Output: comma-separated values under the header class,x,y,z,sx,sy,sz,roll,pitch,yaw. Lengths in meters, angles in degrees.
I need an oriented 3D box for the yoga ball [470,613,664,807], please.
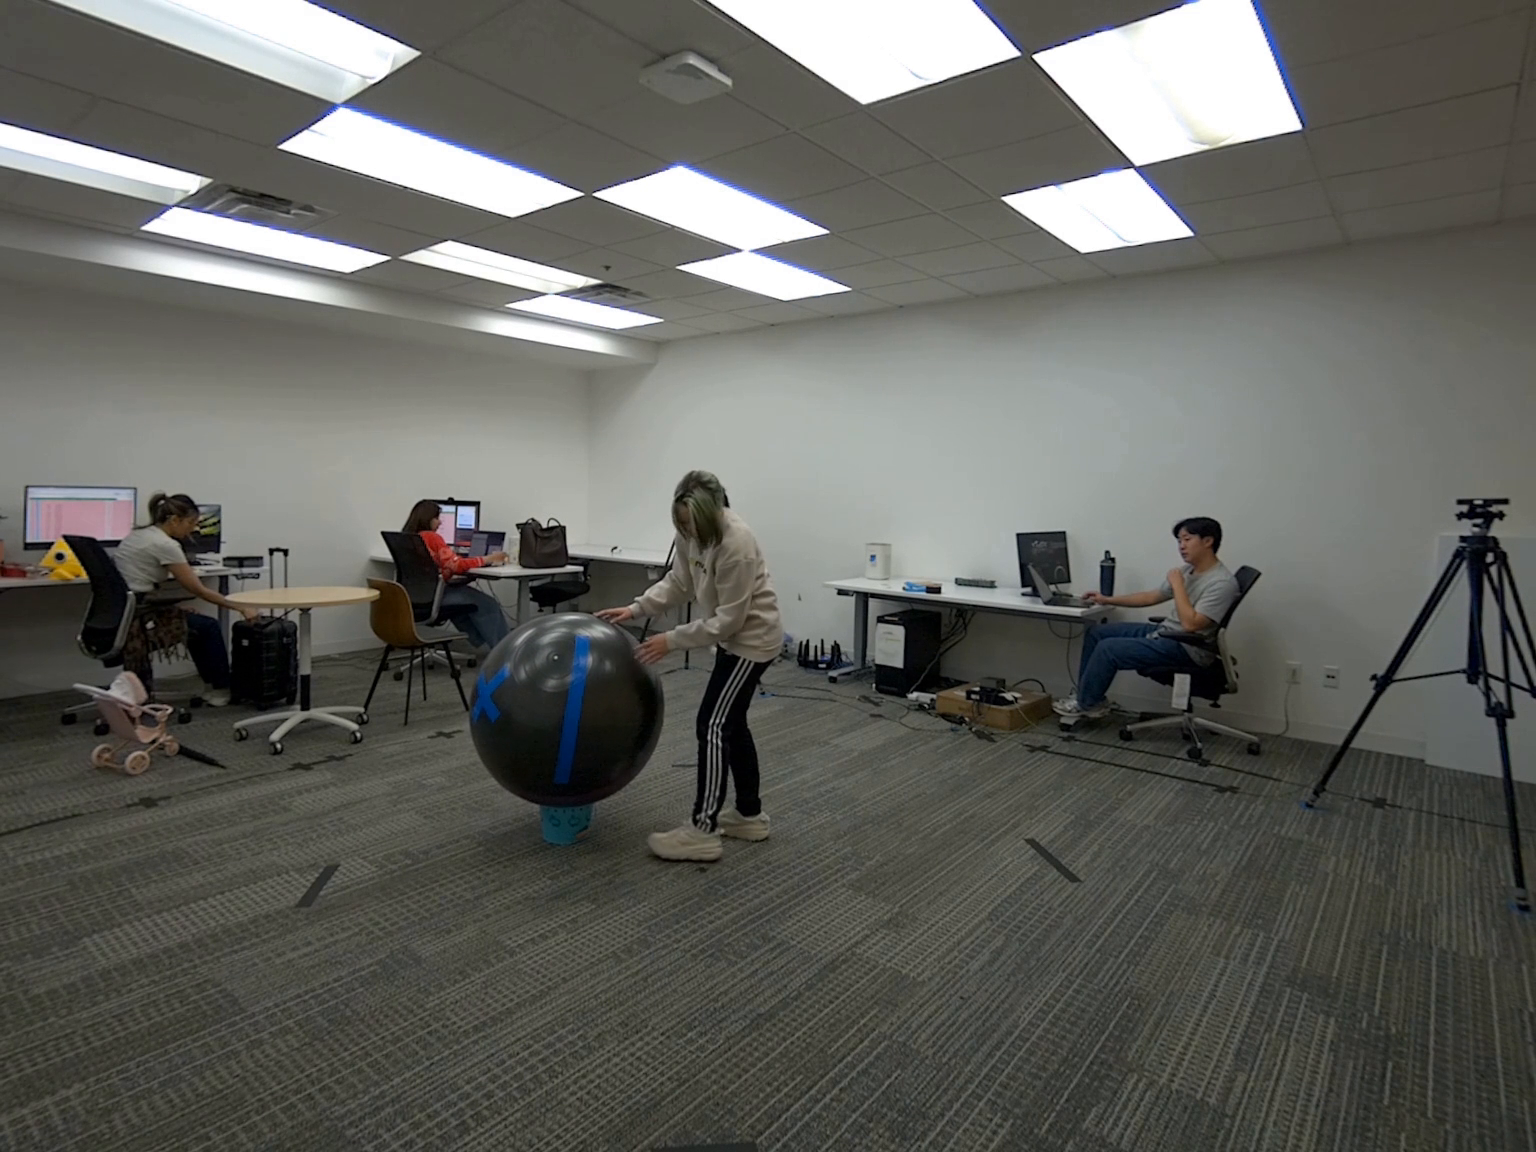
class,x,y,z,sx,sy,sz,roll,pitch,yaw
yoga ball,-0.815,0.525,3.378,0.757,0.755,0.762,1,4,-2
